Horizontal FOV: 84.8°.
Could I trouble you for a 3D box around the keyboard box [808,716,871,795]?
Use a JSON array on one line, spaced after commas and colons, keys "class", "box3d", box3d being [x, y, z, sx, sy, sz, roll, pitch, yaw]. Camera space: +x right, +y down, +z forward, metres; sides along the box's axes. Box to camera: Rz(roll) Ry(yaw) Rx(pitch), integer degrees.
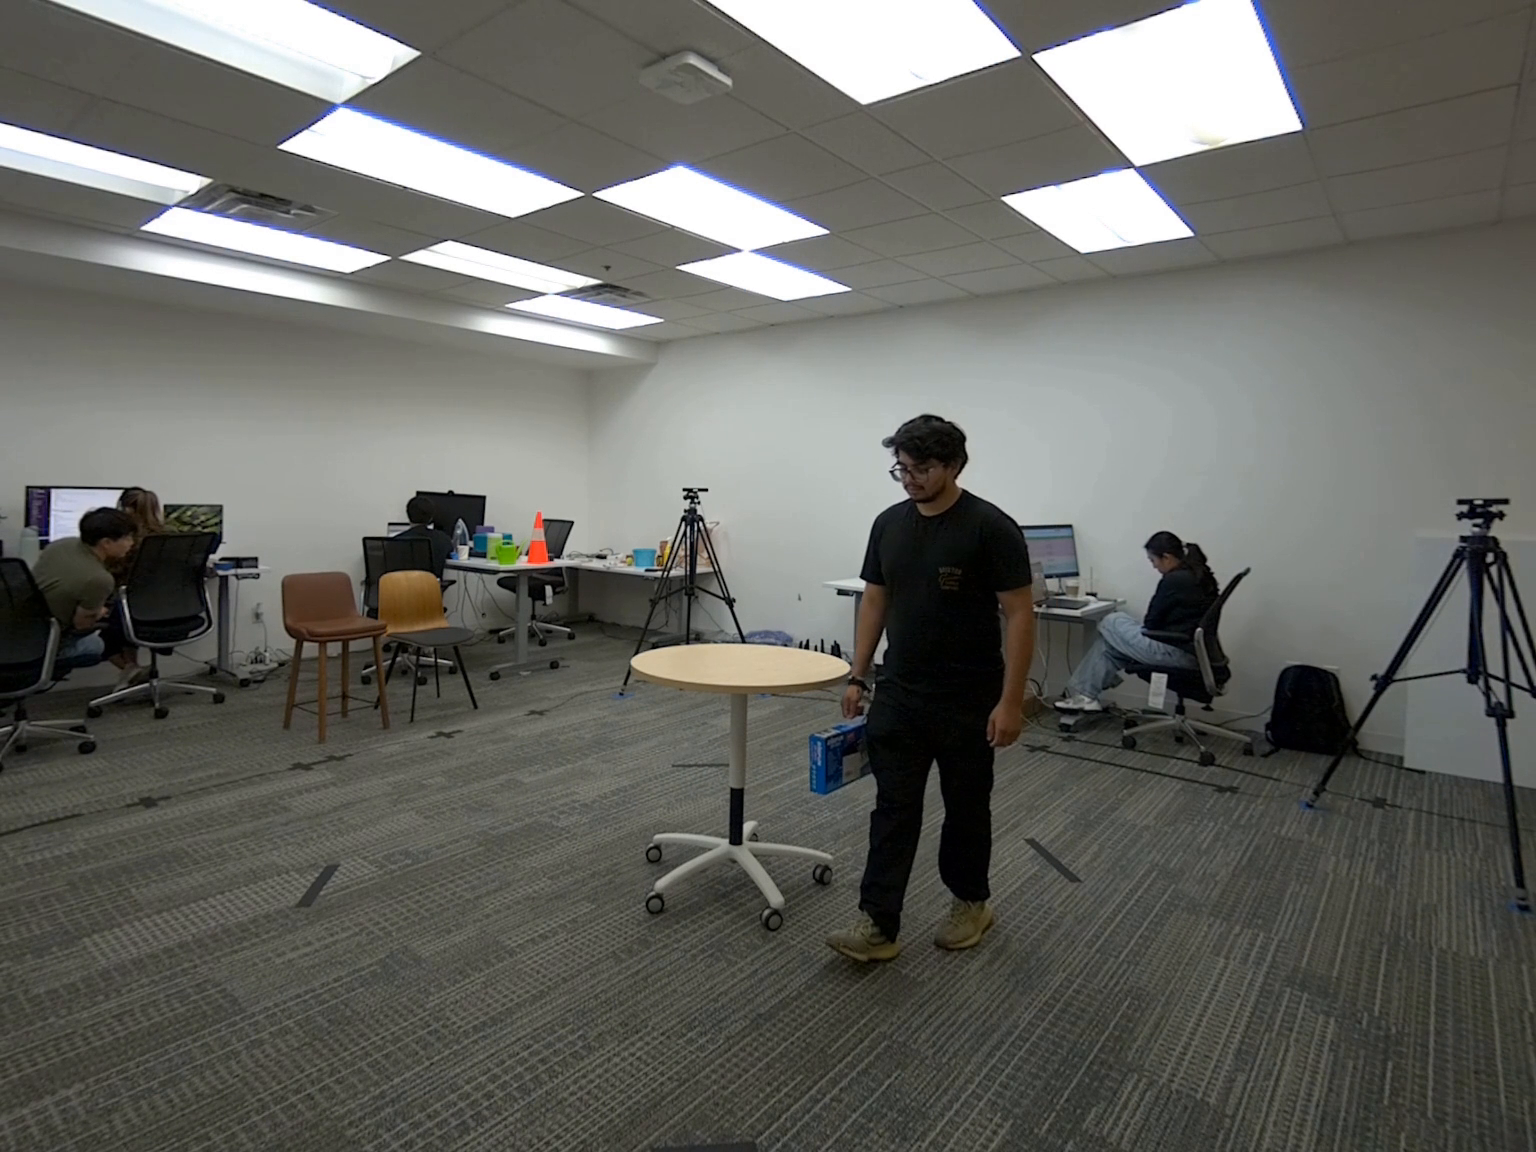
[{"class": "keyboard box", "box3d": [0.273, 0.553, 2.729, 0.061, 0.175, 0.424, 1, 4, 40]}]
